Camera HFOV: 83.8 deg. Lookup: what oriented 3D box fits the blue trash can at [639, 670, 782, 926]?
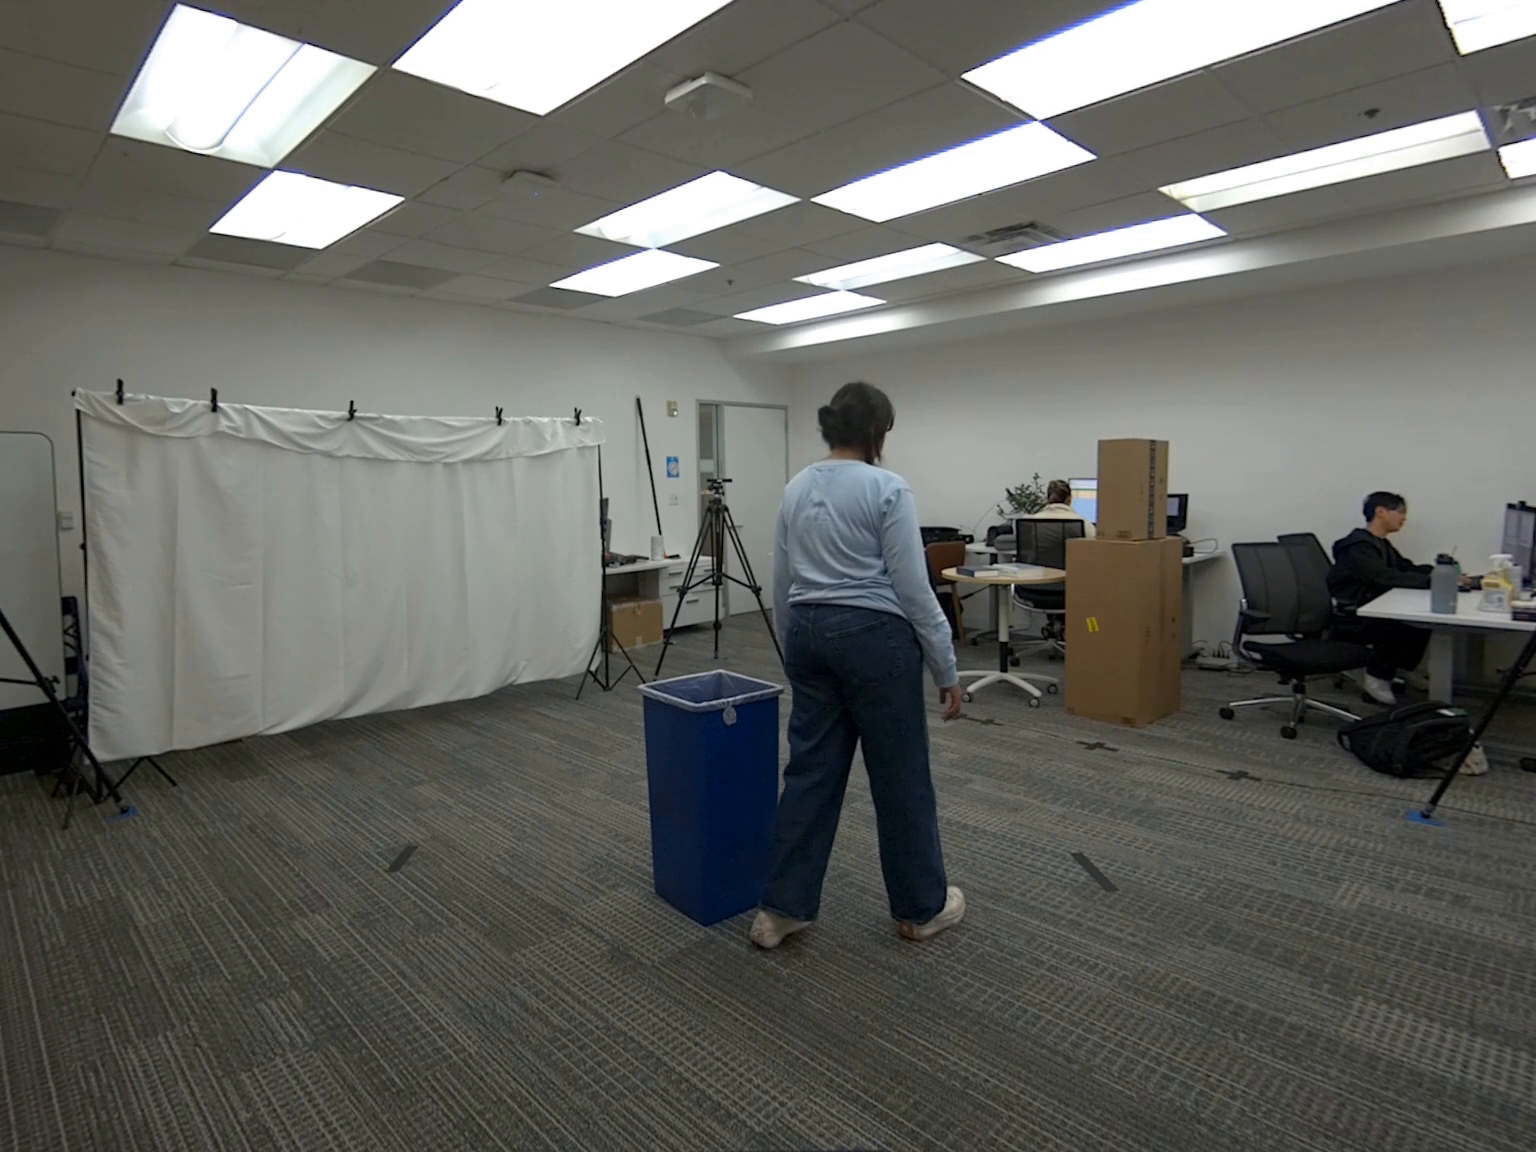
[{"bbox_3d":[-0.188,0.720,2.858,0.368,0.711,0.385,-3,5,-39],"label":"blue trash can"}]
